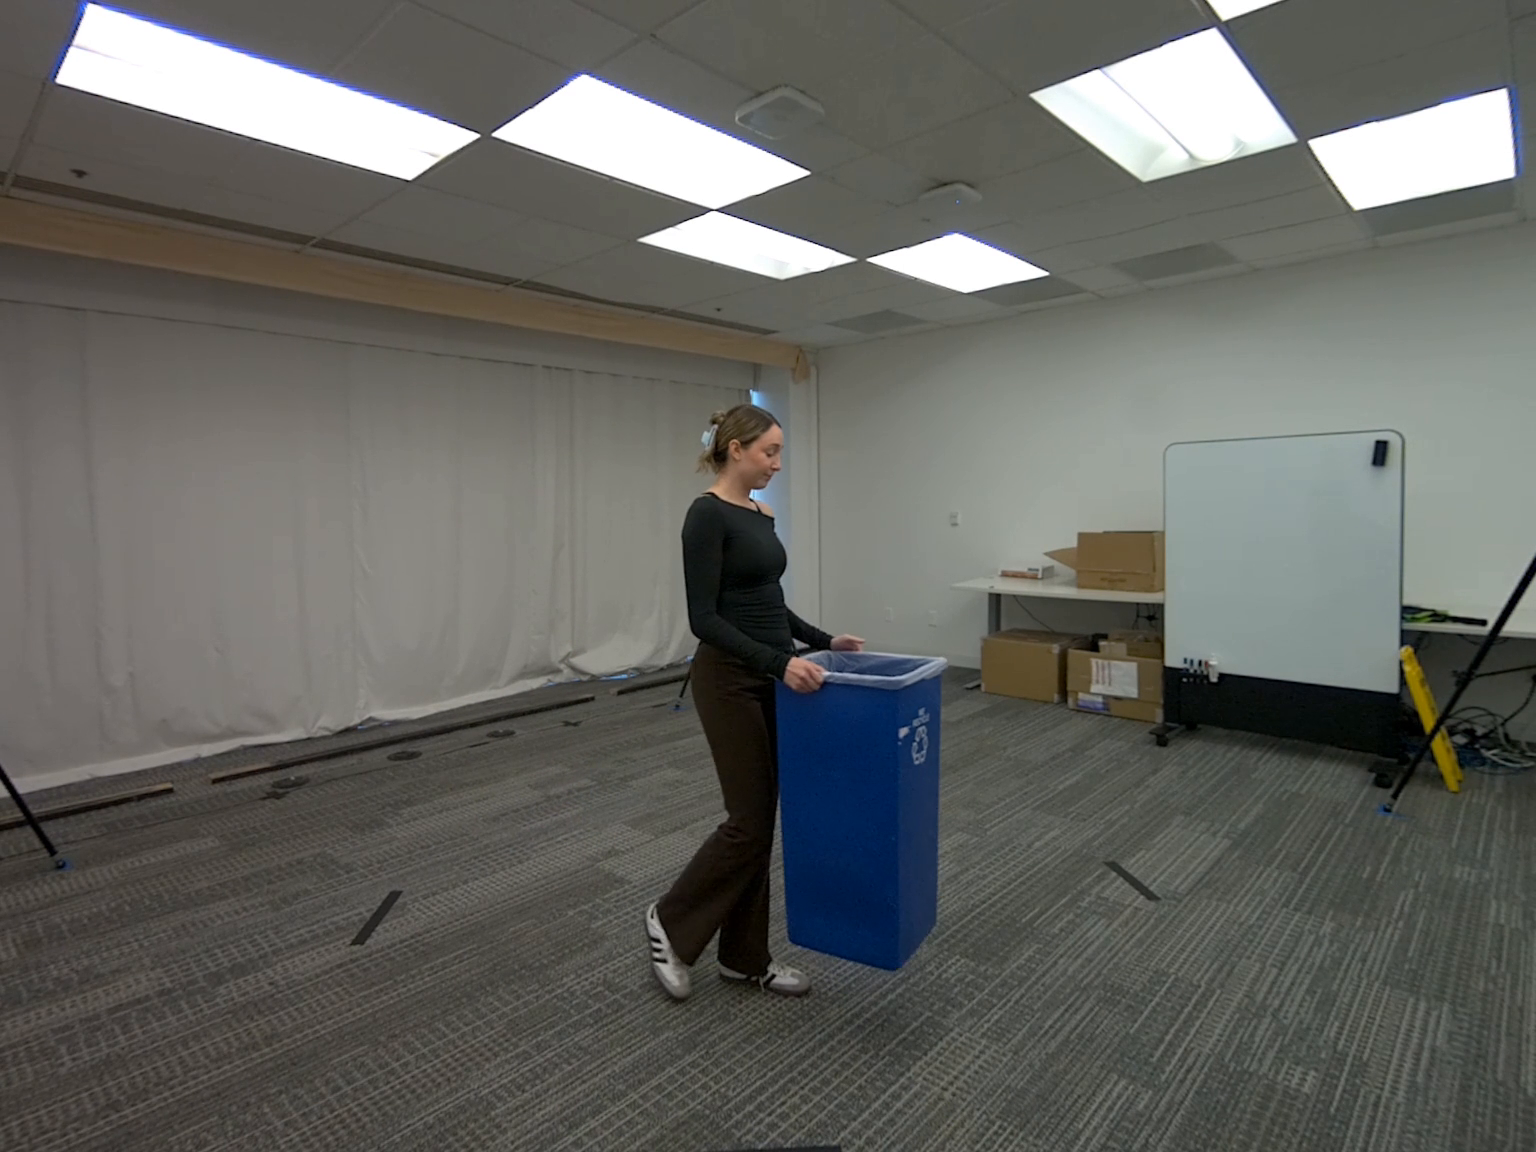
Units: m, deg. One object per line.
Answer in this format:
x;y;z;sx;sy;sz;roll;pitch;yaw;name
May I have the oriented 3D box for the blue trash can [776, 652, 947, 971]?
0.249;0.585;2.208;0.389;0.712;0.364;1;3;32;blue trash can
